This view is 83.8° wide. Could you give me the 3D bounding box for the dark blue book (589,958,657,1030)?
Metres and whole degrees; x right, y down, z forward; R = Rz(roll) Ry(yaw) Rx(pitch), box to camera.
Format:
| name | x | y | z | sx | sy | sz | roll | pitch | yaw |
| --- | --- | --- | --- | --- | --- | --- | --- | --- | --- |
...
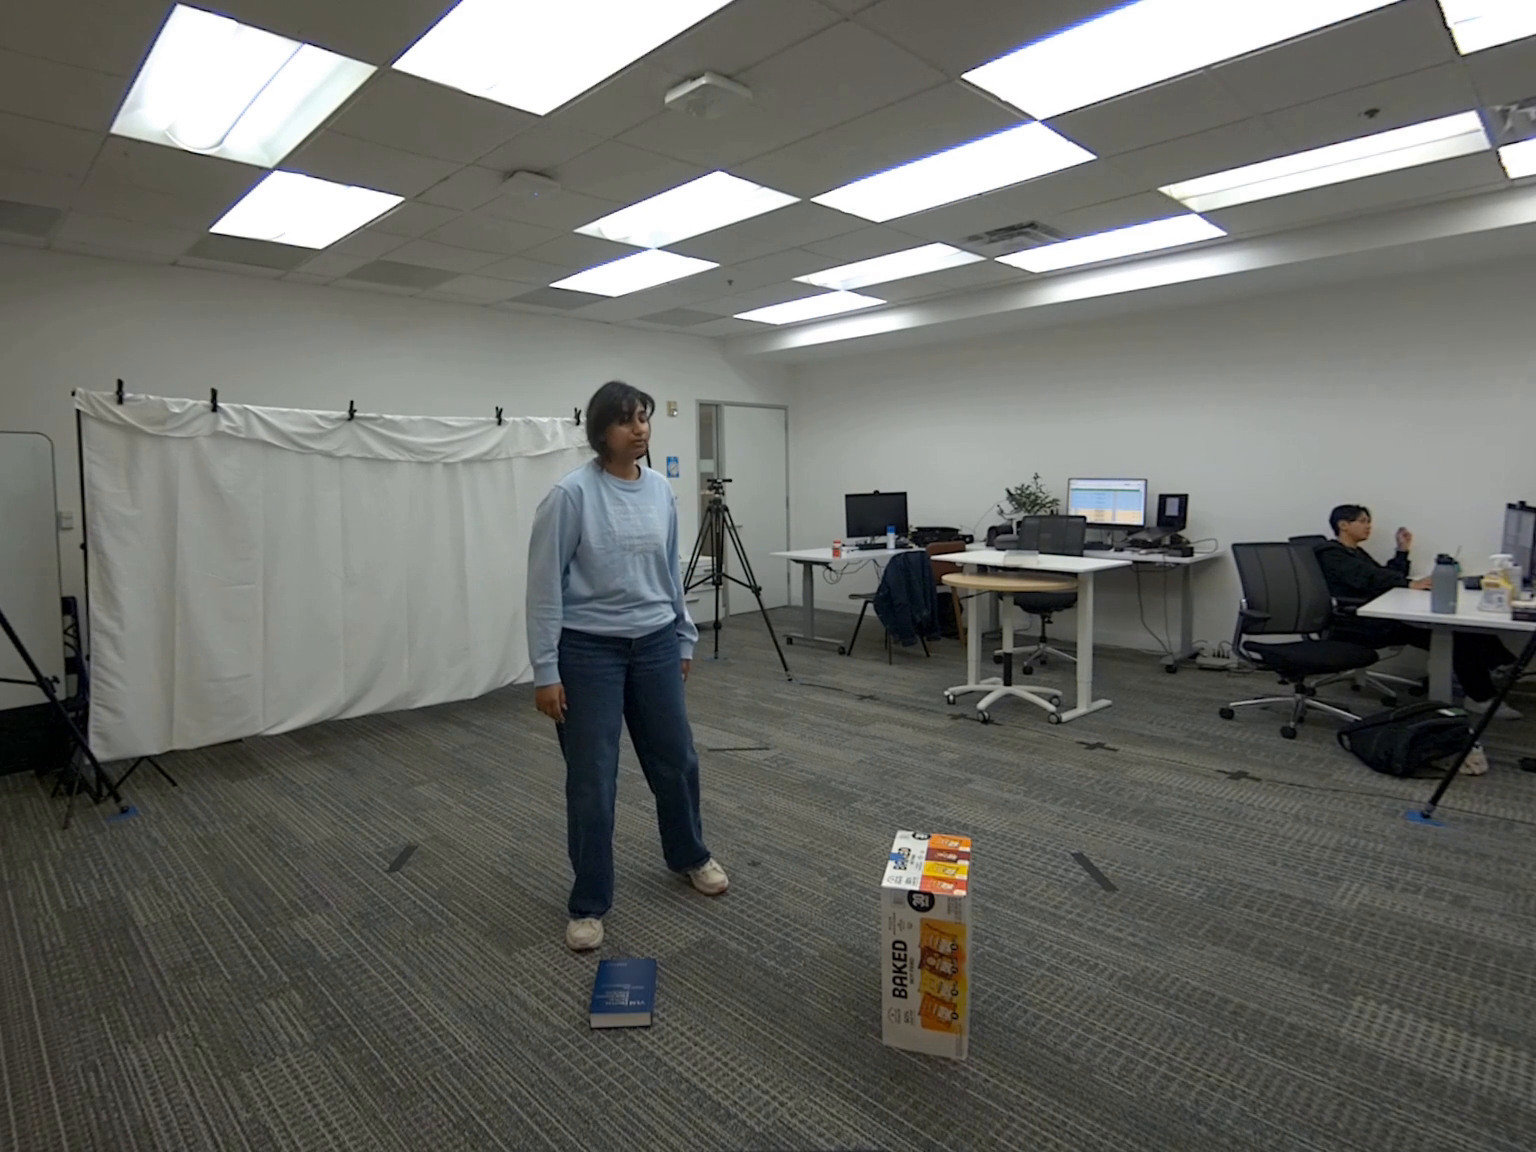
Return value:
| name | x | y | z | sx | sy | sz | roll | pitch | yaw |
| --- | --- | --- | --- | --- | --- | --- | --- | --- | --- |
| dark blue book | -0.387 | 1.130 | 2.302 | 0.163 | 0.045 | 0.247 | -2 | 7 | -4 |
